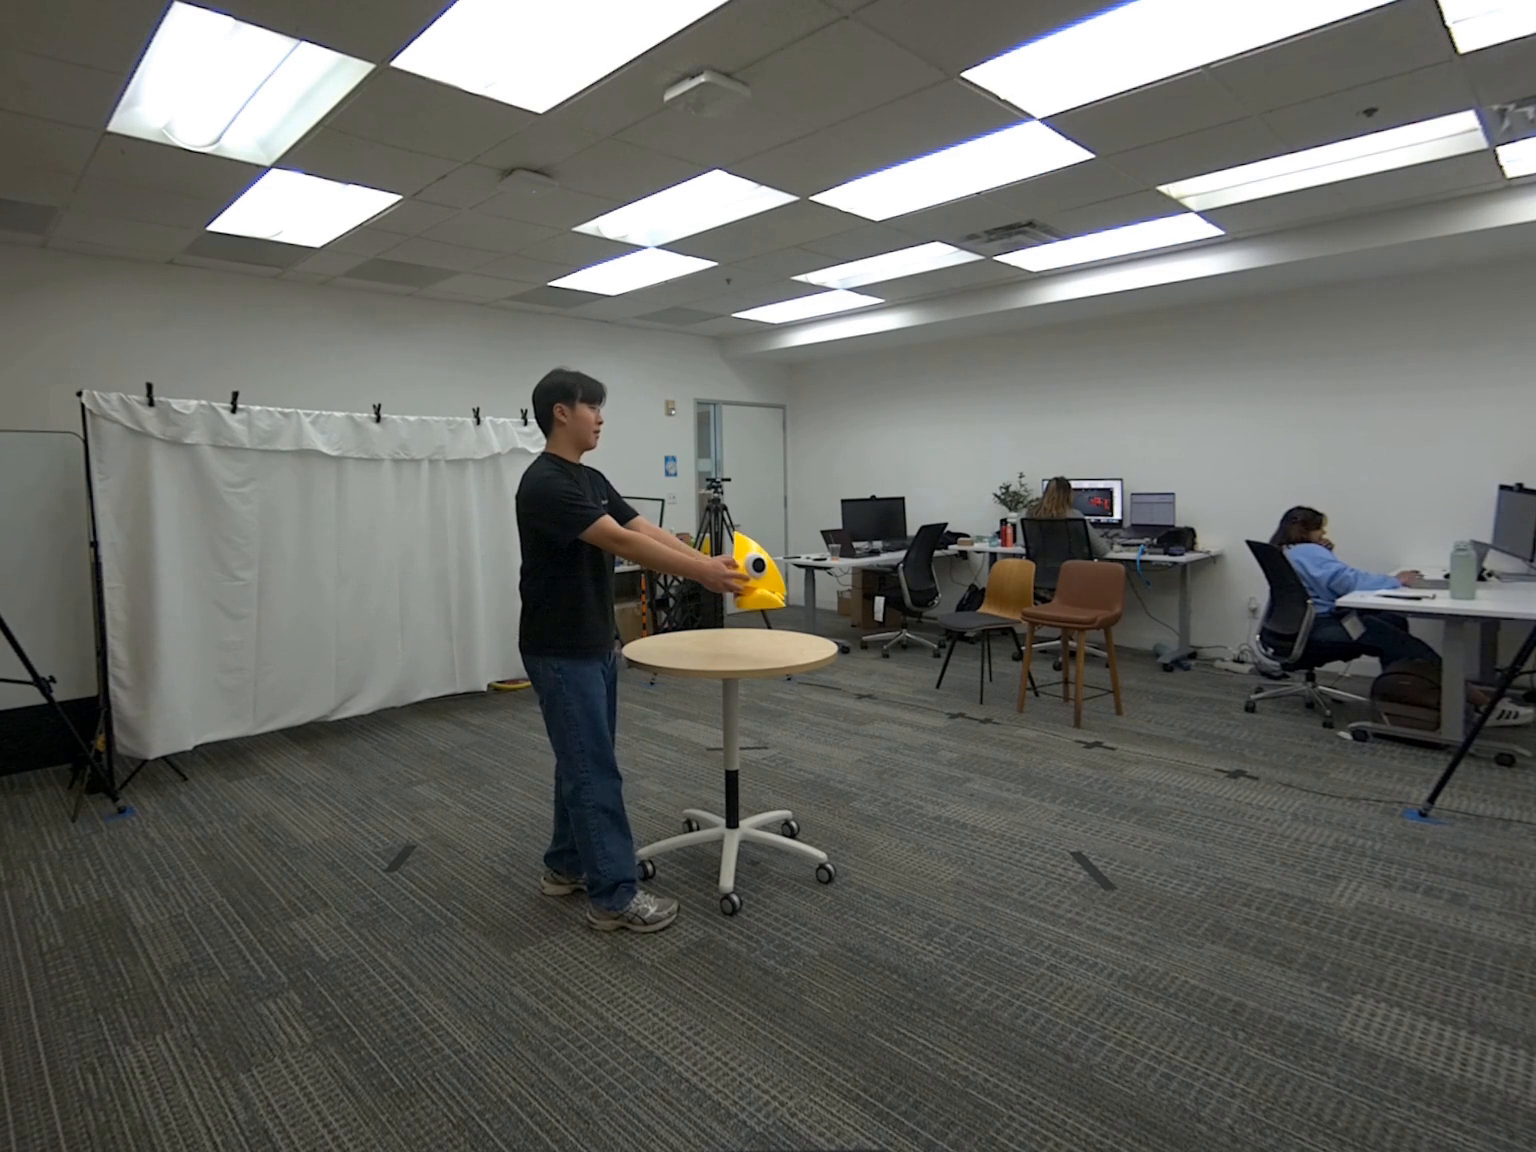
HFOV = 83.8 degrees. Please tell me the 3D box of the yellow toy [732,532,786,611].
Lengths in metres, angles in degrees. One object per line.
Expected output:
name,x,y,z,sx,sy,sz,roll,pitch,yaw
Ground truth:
yellow toy,-0.048,-0.028,2.674,0.193,0.229,0.205,-2,6,2
